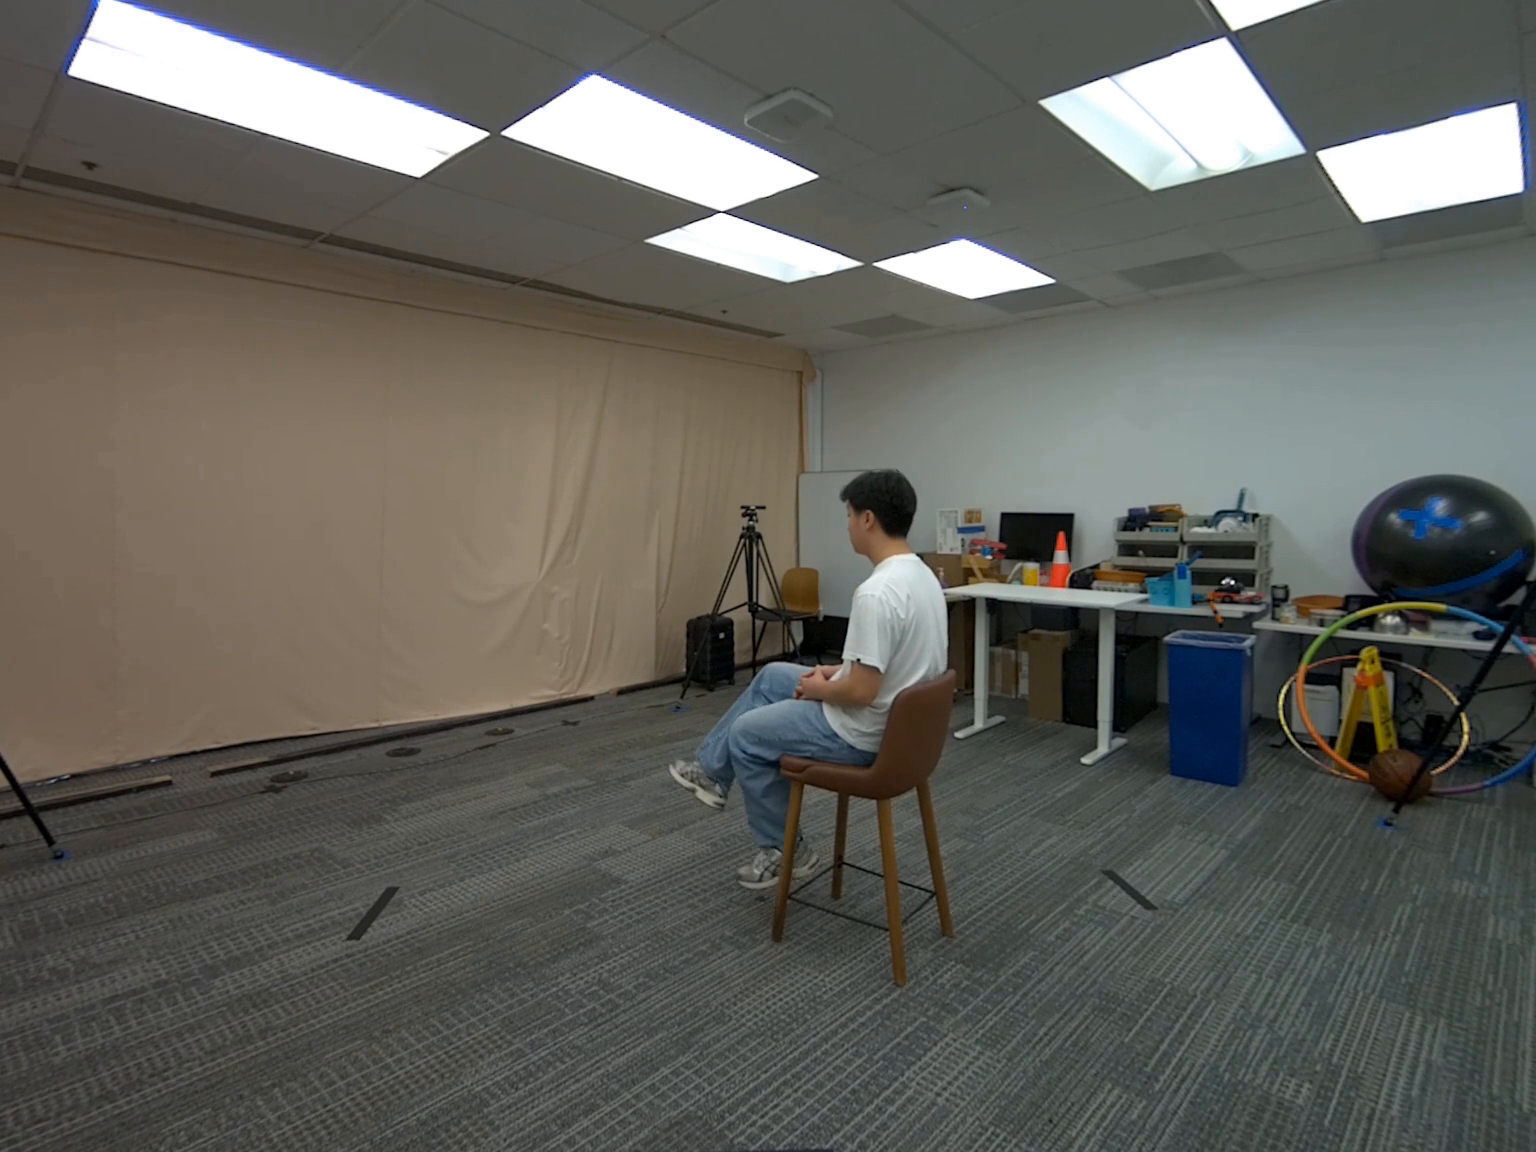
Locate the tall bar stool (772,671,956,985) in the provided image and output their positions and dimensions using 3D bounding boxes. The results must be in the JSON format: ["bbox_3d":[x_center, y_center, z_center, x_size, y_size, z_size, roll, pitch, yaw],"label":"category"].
[{"bbox_3d":[0.326,0.737,2.680,0.483,0.887,0.443,5,7,36],"label":"tall bar stool"}]
